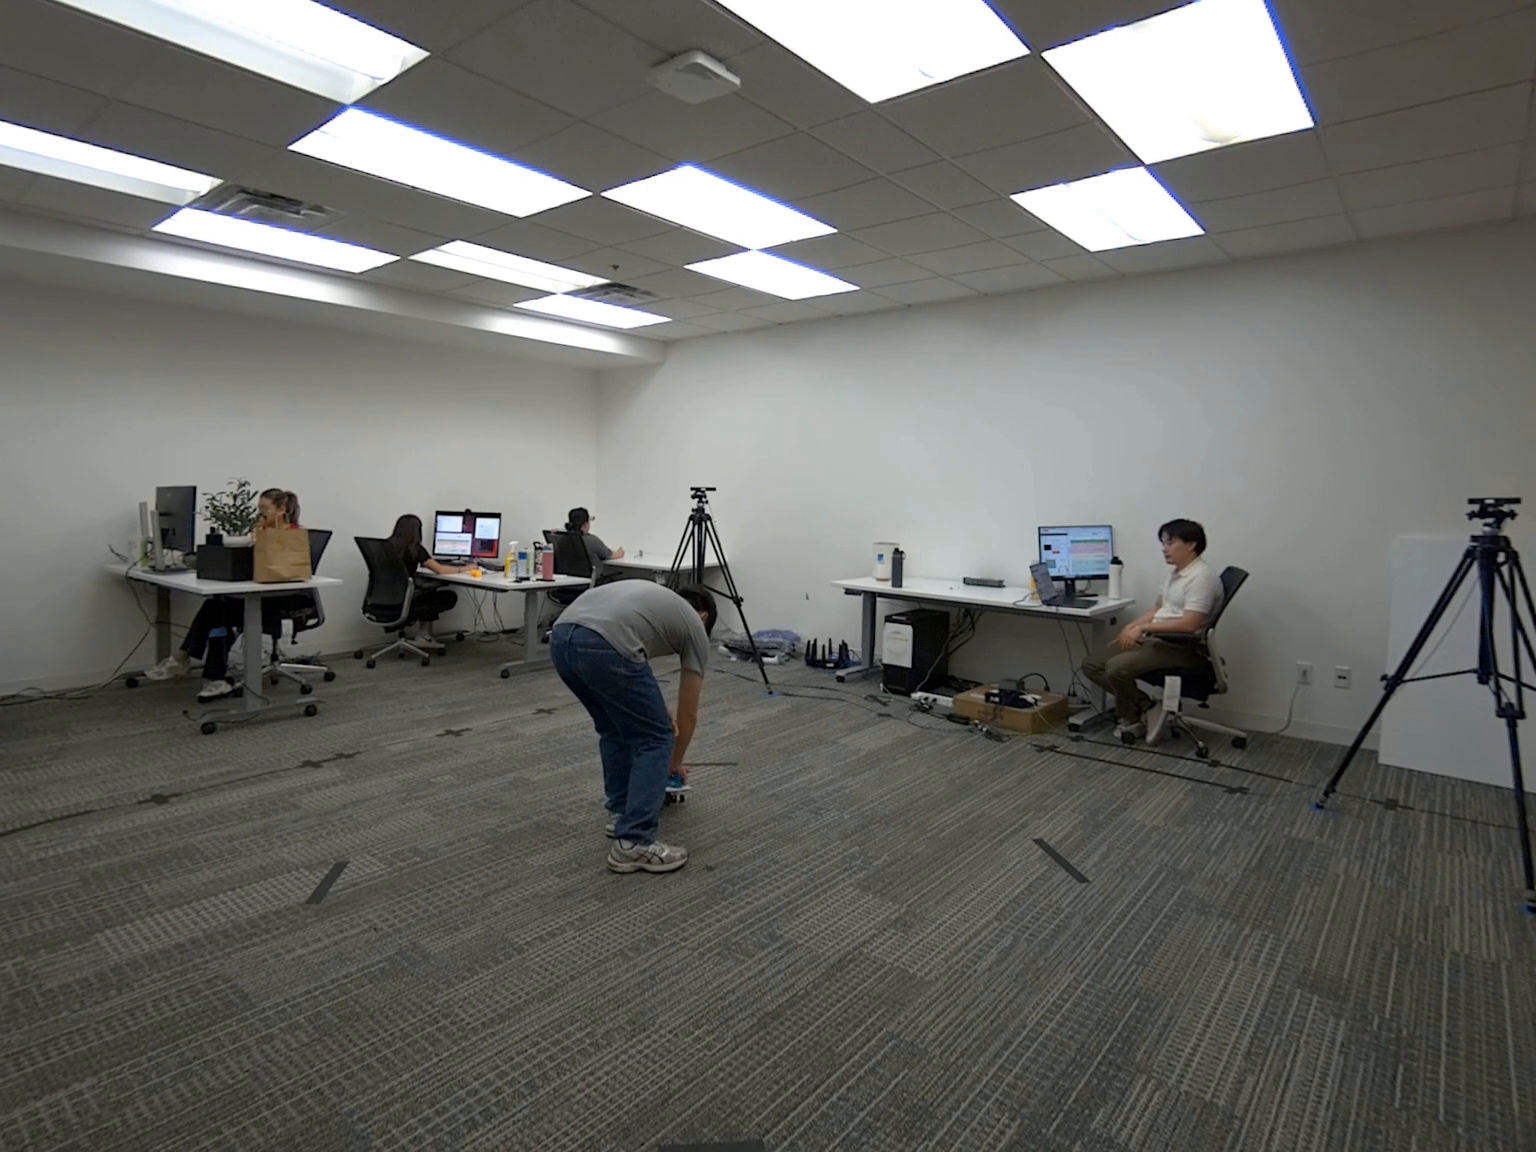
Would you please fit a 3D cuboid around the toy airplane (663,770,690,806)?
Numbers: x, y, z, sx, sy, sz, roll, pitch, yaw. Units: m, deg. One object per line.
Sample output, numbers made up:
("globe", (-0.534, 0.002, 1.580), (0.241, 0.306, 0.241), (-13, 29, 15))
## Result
("toy airplane", (-0.427, 0.908, 3.668), (0.264, 0.159, 0.242), (-14, -16, 26))
